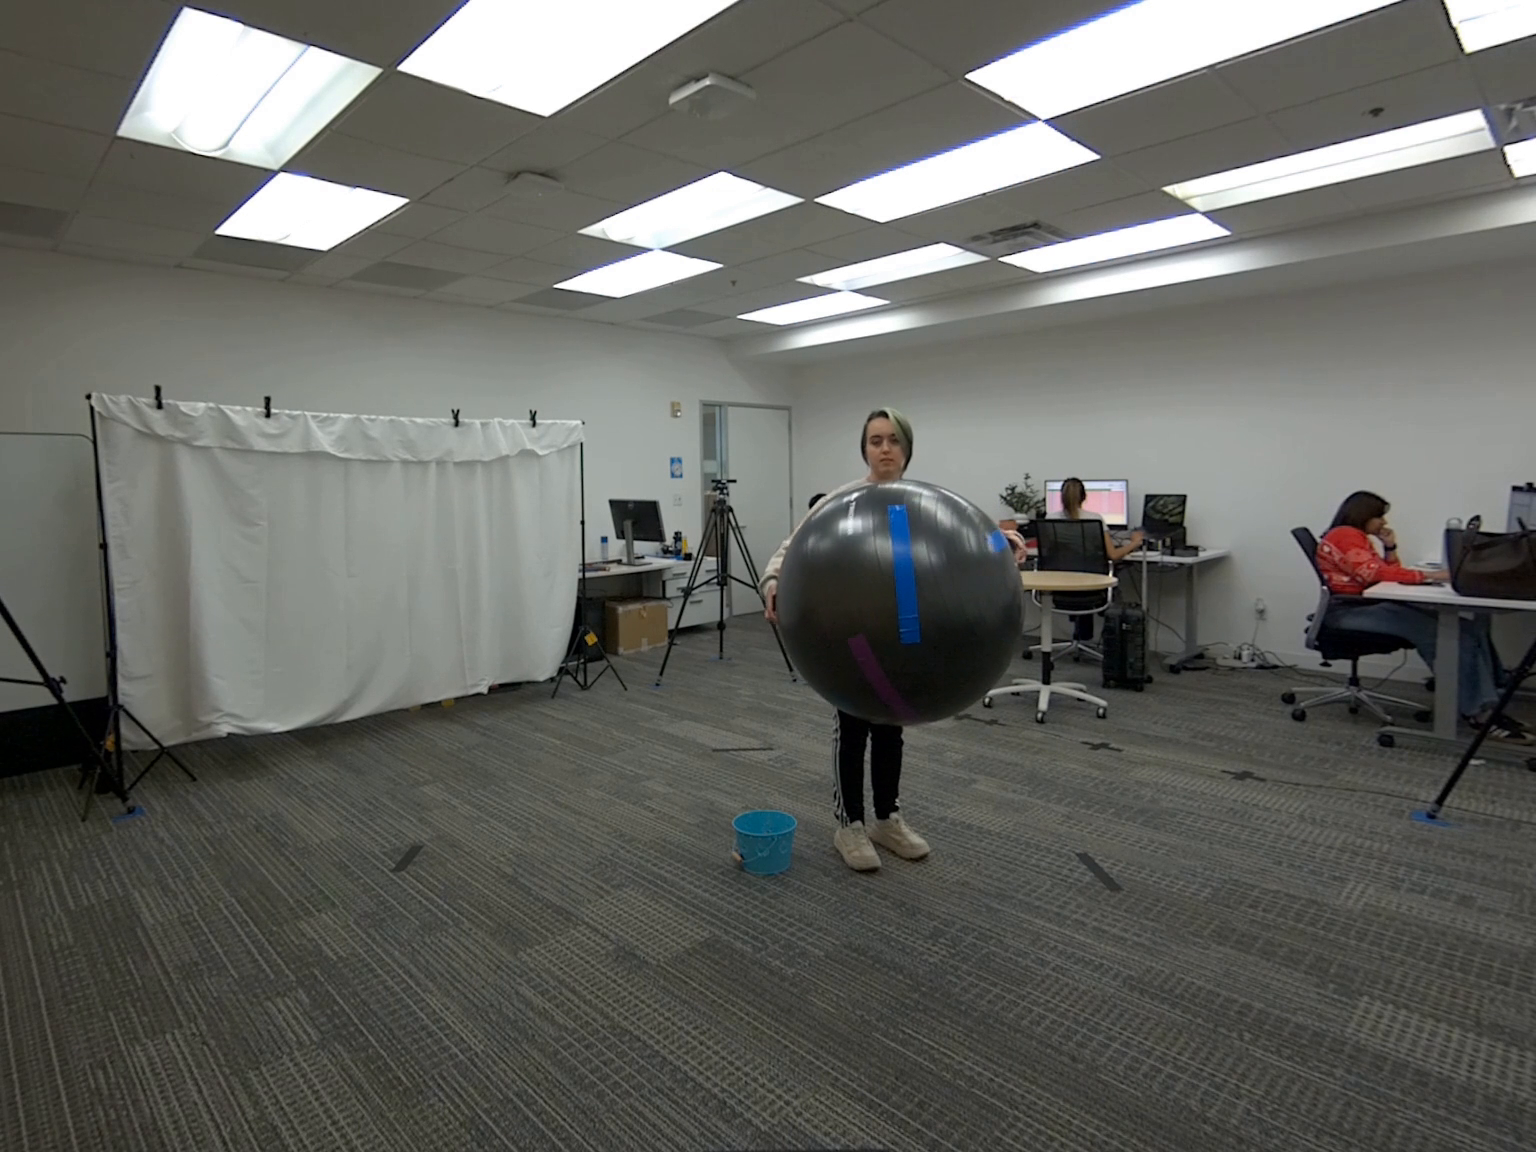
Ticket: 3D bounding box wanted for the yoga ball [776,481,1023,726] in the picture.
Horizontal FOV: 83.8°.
[{"bbox_3d":[0.403,0.088,2.656,0.757,0.755,0.762,-1,5,-2],"label":"yoga ball"}]
